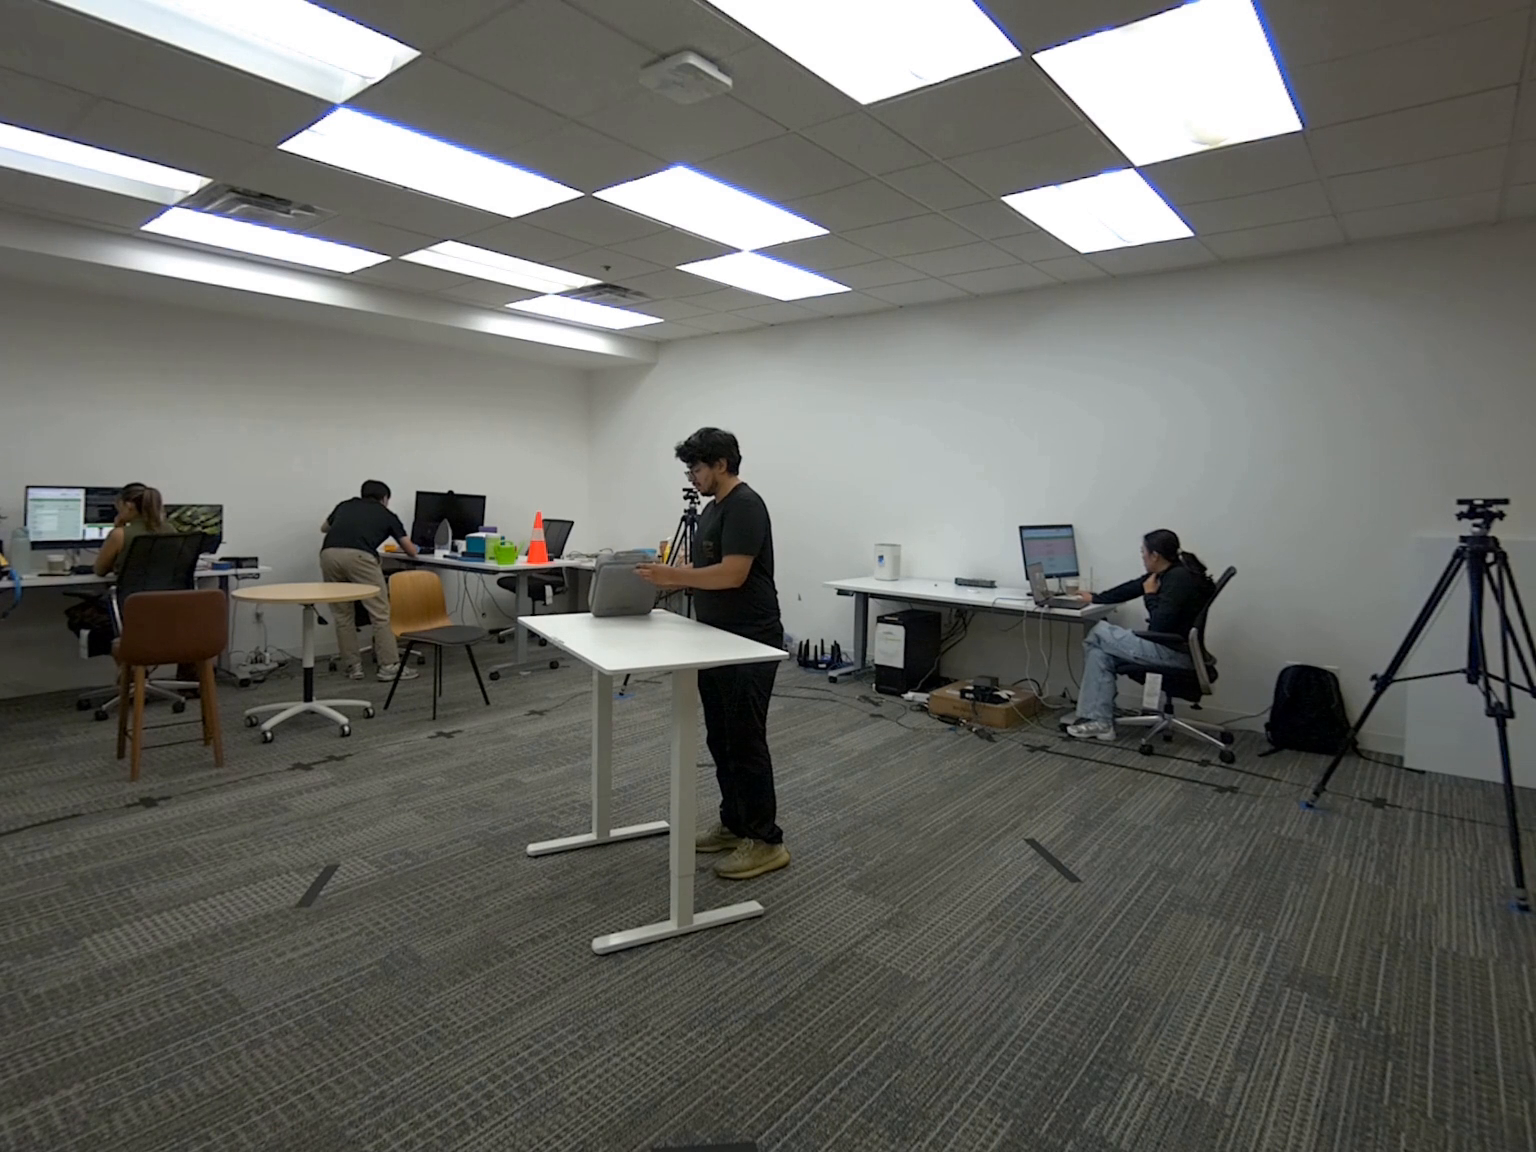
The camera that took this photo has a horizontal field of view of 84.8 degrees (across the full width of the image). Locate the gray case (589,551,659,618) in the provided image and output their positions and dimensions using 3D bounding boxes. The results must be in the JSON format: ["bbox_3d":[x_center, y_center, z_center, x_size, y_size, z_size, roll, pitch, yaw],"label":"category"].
[{"bbox_3d":[-0.570,0.034,3.303,0.251,0.256,0.108,-1,32,-25],"label":"gray case"}]
